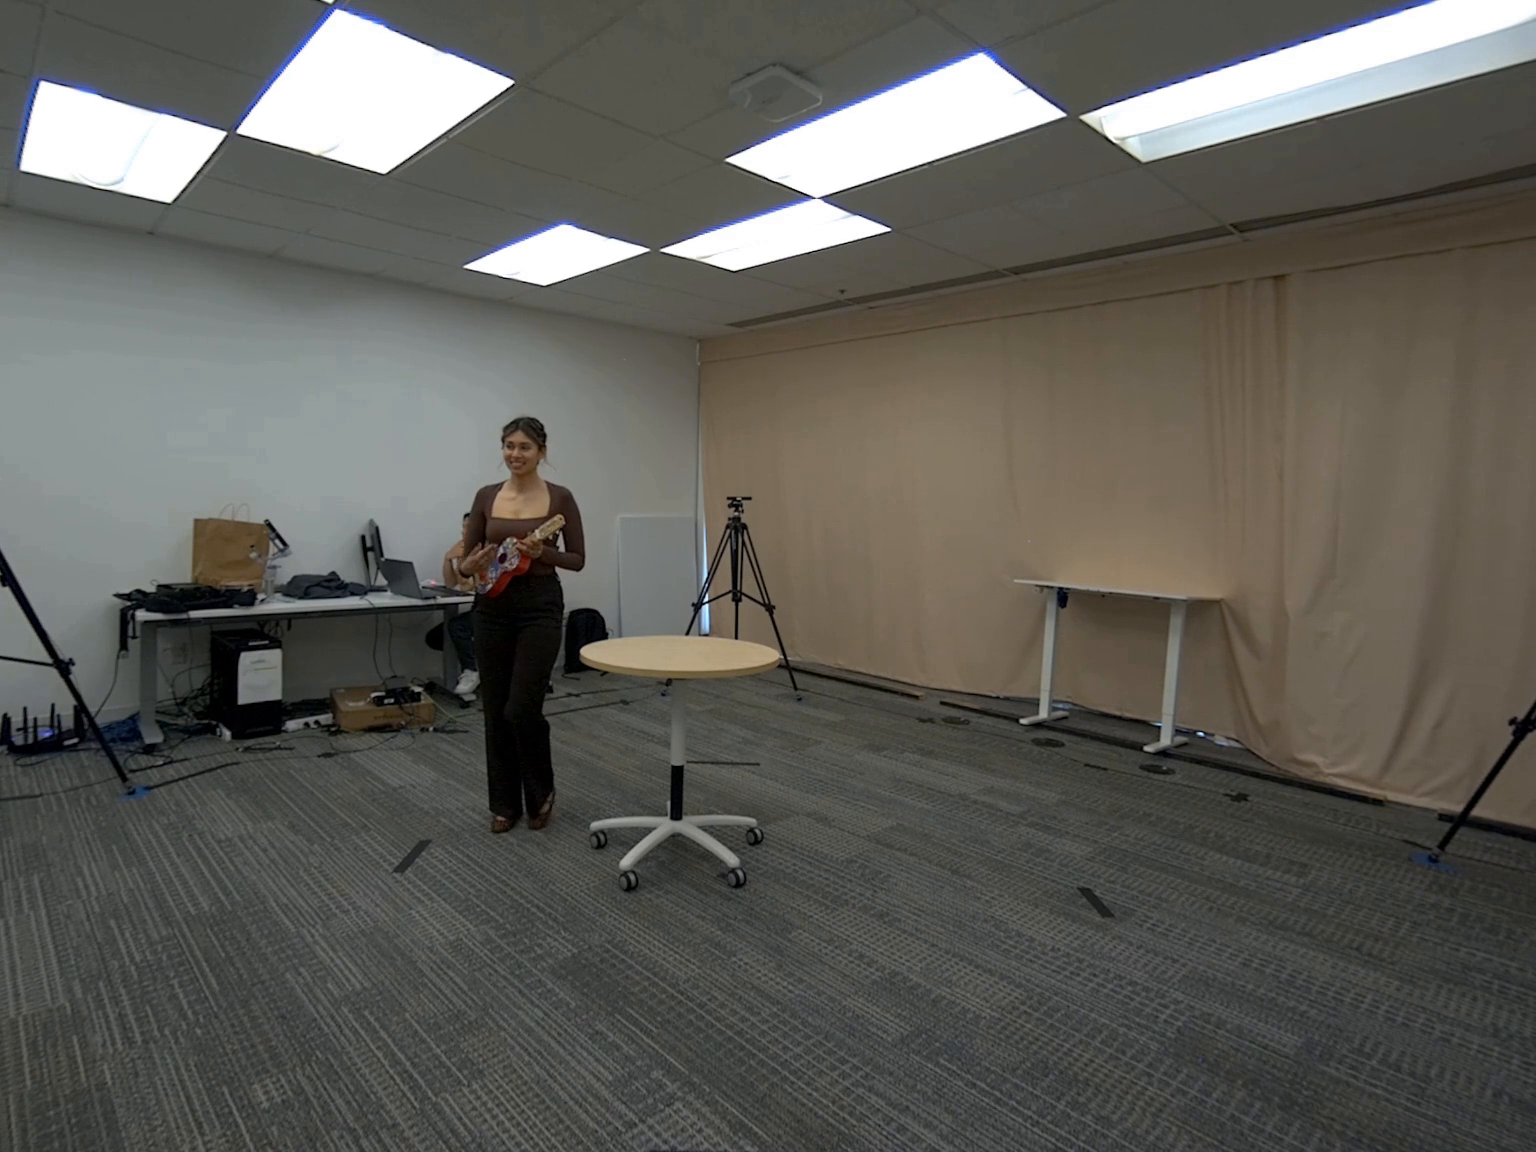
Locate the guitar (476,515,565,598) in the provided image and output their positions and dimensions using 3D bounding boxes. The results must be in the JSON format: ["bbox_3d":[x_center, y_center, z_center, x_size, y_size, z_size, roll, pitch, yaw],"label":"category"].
[{"bbox_3d":[-0.980,-0.072,3.330,0.503,0.197,0.068,-22,-27,25],"label":"guitar"}]
